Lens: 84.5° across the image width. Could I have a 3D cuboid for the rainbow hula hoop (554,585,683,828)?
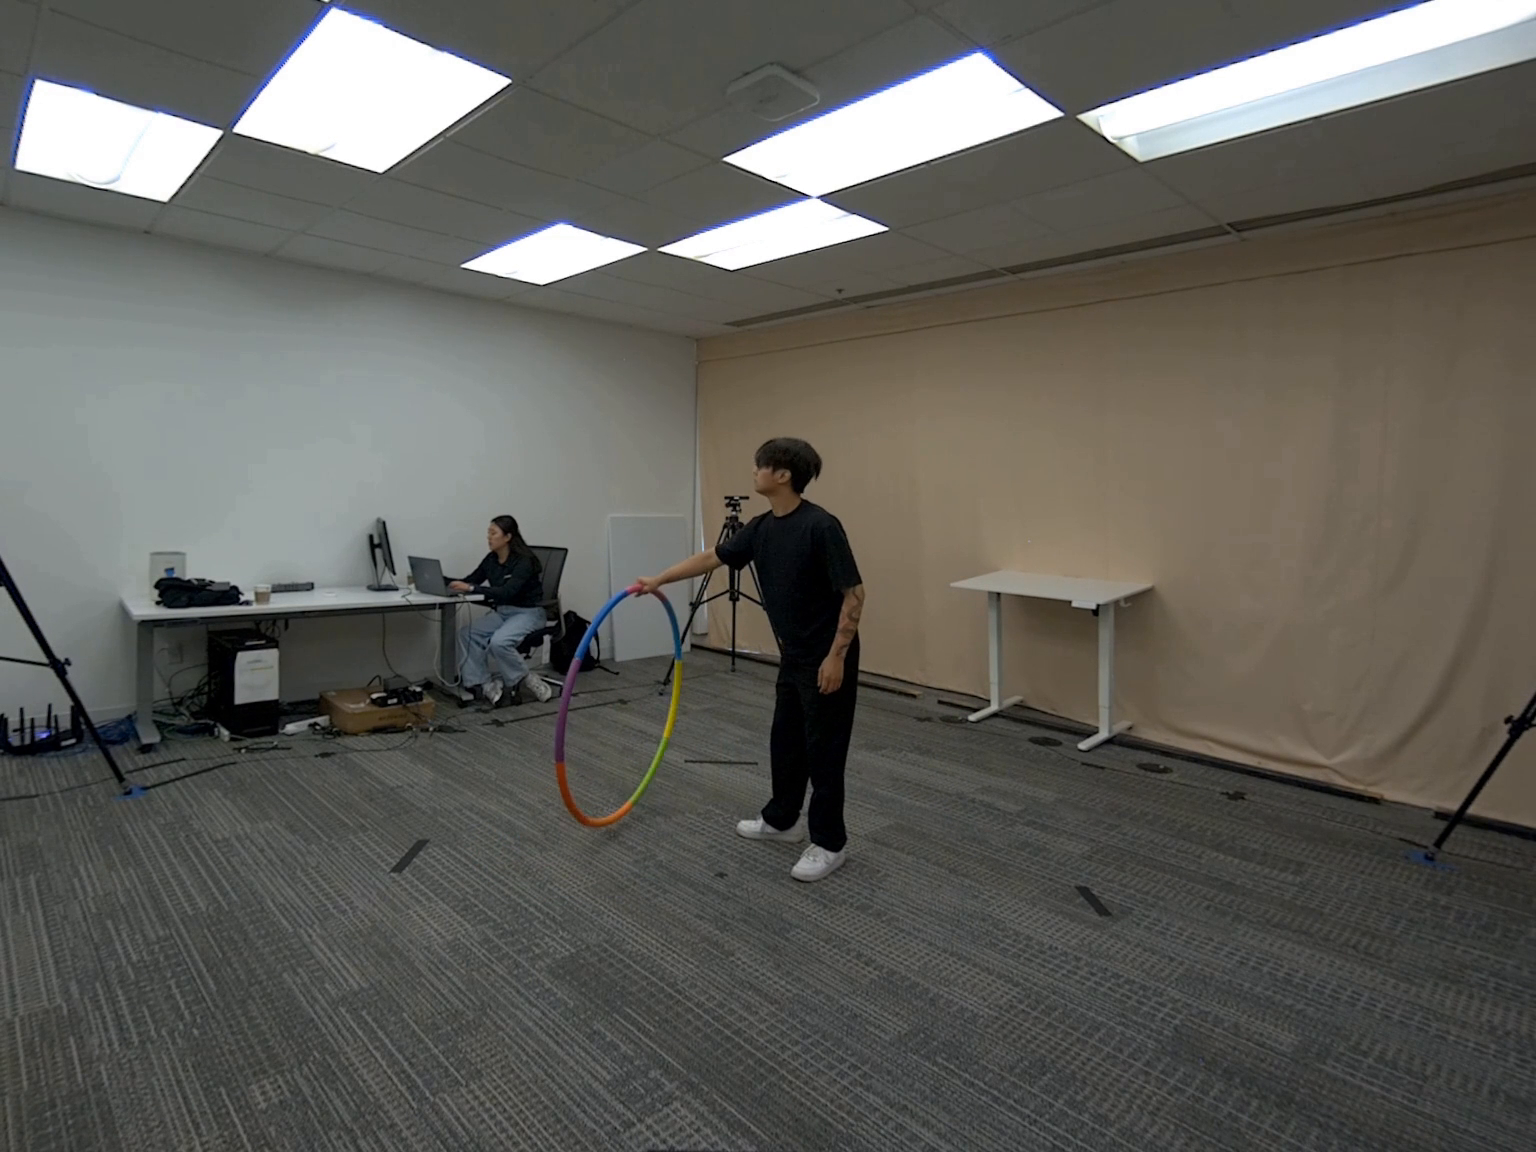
[{"bbox_3d":[-0.588,0.529,3.461,0.036,0.975,0.965,8,6,19],"label":"rainbow hula hoop"}]
